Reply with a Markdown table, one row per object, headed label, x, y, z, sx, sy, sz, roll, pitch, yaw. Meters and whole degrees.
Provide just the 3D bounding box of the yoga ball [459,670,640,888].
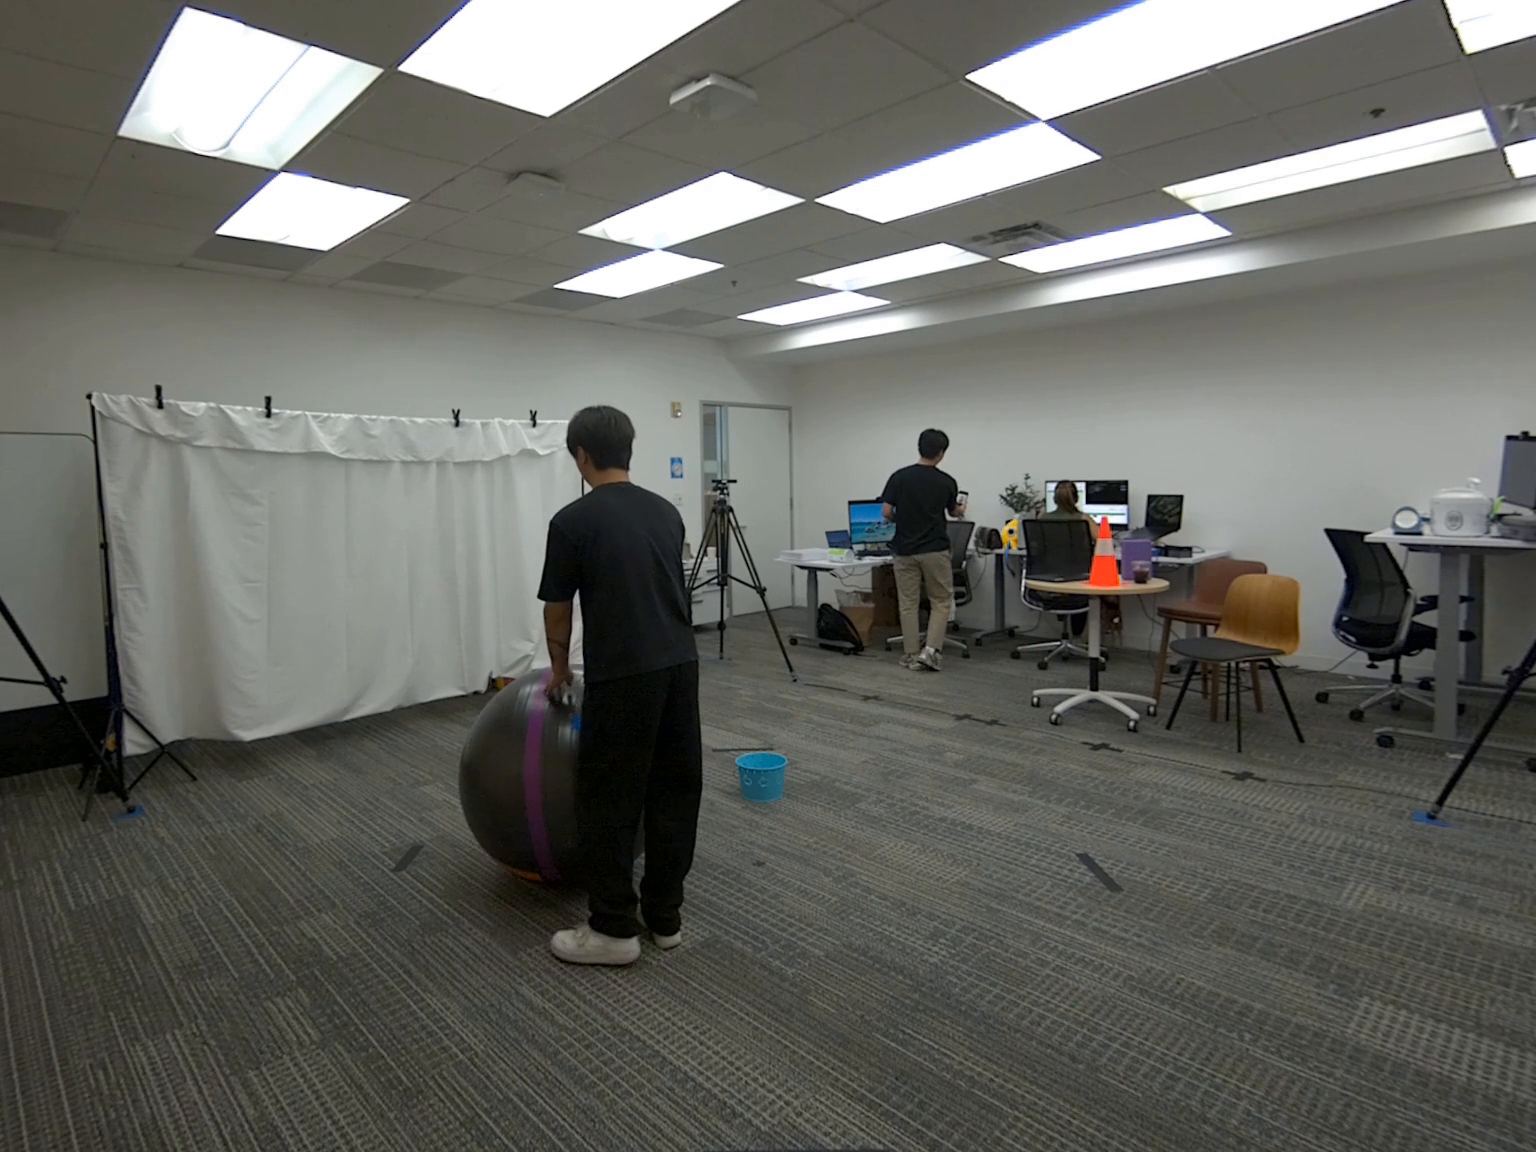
| label | x | y | z | sx | sy | sz | roll | pitch | yaw |
| --- | --- | --- | --- | --- | --- | --- | --- | --- | --- |
| yoga ball | -0.713 | 0.701 | 3.041 | 0.757 | 0.755 | 0.762 | -1 | 5 | -2 |
